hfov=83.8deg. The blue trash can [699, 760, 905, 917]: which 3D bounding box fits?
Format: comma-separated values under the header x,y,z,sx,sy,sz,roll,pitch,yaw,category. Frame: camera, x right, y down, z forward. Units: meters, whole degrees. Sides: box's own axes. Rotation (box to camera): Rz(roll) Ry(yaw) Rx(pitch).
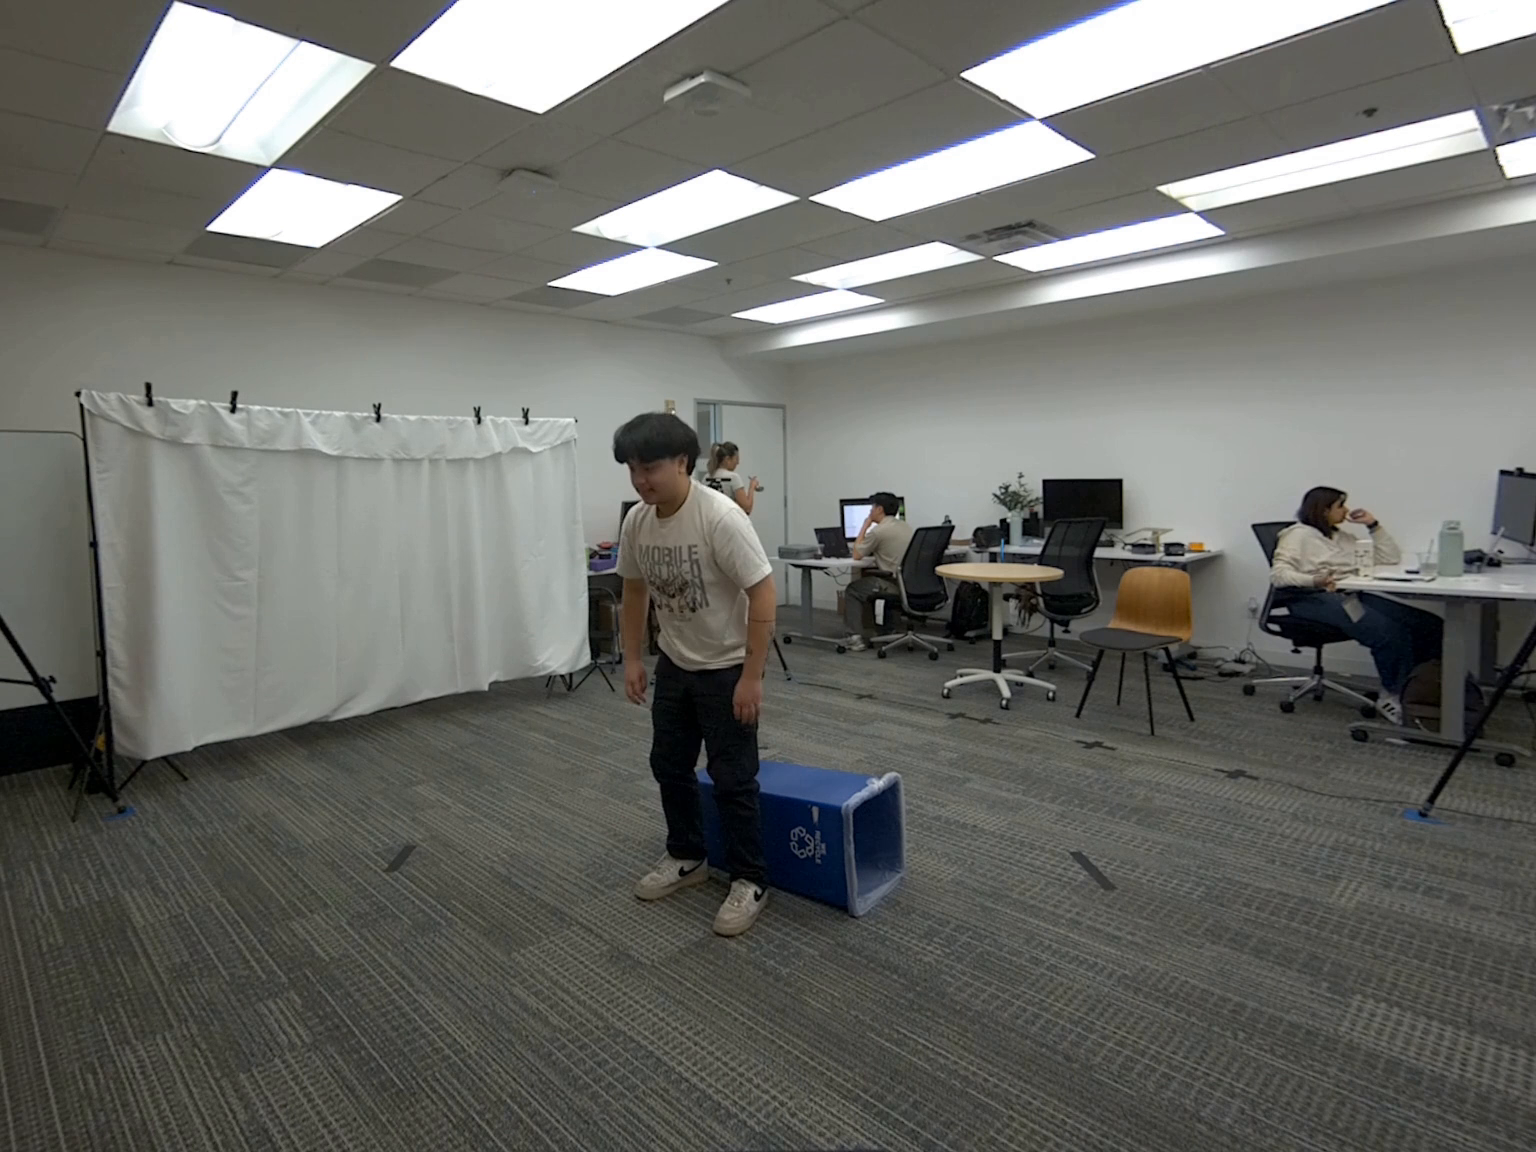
x,y,z,sx,sy,sz,roll,pitch,yaw,category
0.083,0.884,3.051,0.733,0.373,0.369,-1,5,36,blue trash can
